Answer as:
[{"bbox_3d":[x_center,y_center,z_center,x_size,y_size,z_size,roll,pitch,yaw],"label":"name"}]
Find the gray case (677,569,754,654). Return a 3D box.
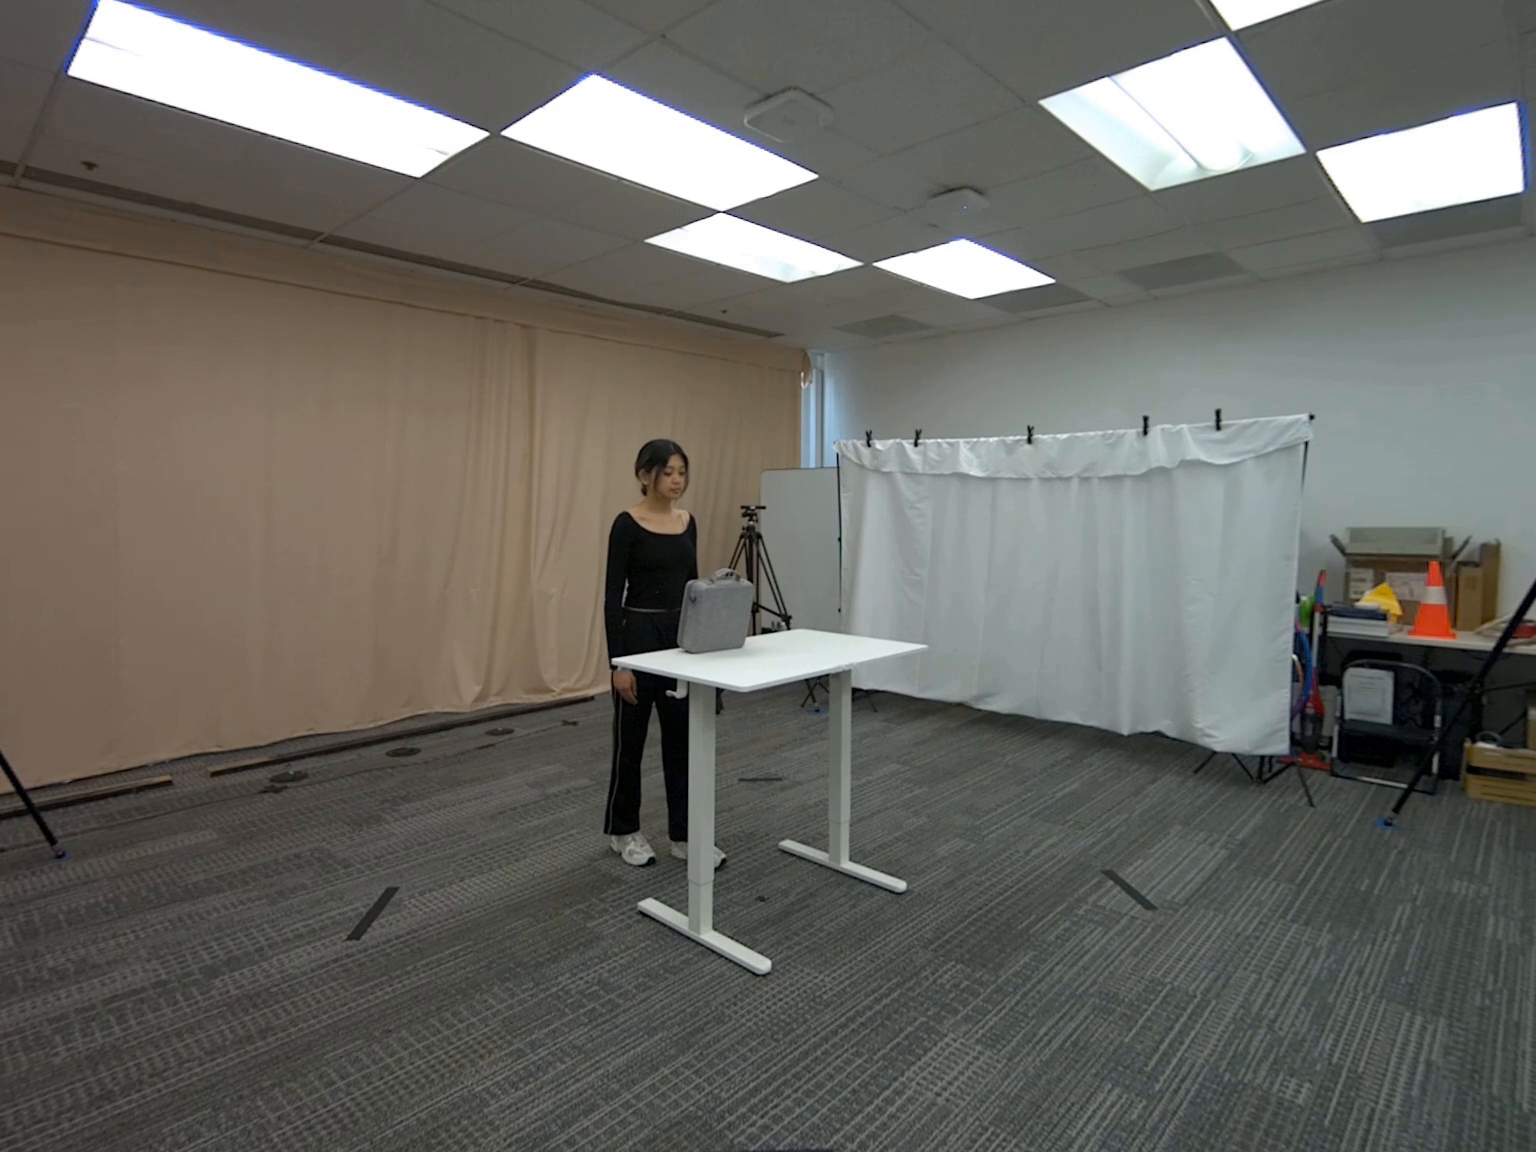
[{"bbox_3d":[-0.176,0.132,2.951,0.249,0.259,0.108,-3,18,-39],"label":"gray case"}]
